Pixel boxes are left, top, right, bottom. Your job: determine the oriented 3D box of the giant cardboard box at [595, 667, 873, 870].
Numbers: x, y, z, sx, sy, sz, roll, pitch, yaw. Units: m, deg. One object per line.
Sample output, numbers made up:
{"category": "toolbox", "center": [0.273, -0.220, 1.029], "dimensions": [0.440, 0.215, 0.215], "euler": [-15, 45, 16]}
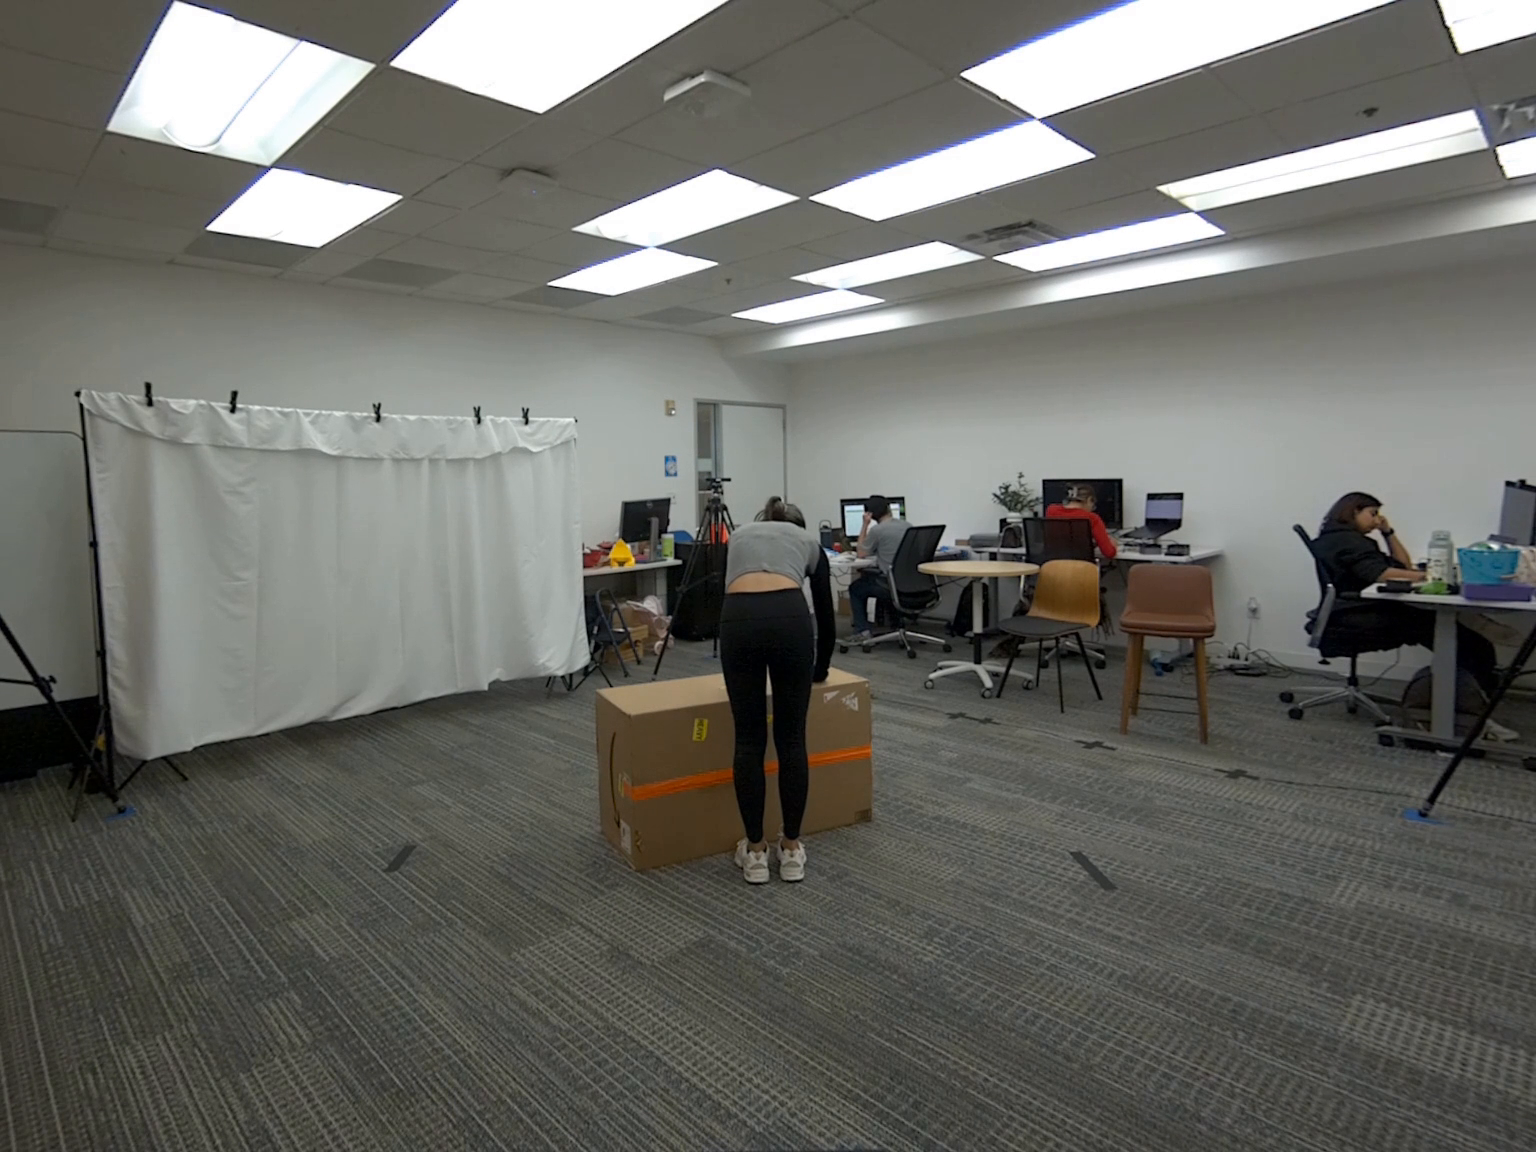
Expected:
{"category": "giant cardboard box", "center": [-0.131, 0.718, 3.429], "dimensions": [1.004, 0.575, 0.437], "euler": [-4, 5, -25]}
